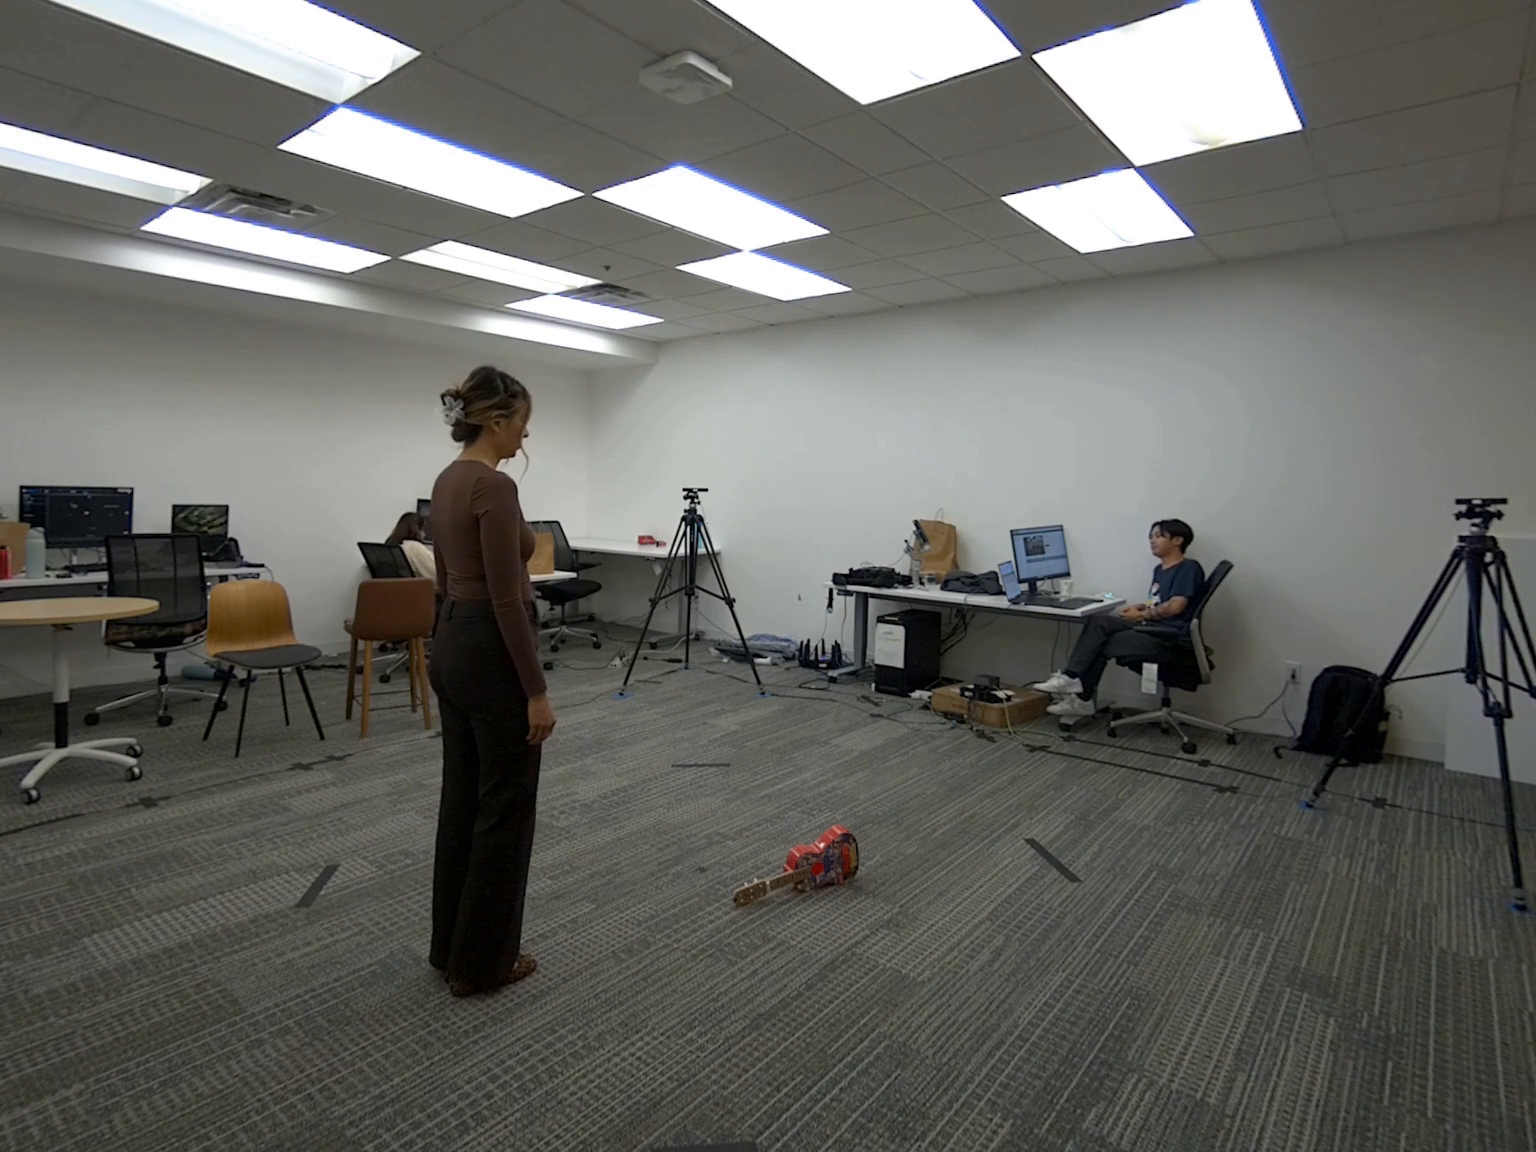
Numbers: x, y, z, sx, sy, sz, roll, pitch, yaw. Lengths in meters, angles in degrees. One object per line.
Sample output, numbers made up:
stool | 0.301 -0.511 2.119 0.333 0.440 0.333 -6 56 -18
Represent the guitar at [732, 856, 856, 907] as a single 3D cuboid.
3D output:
guitar | 0.091 0.996 2.947 0.486 0.192 0.073 -2 8 -25
